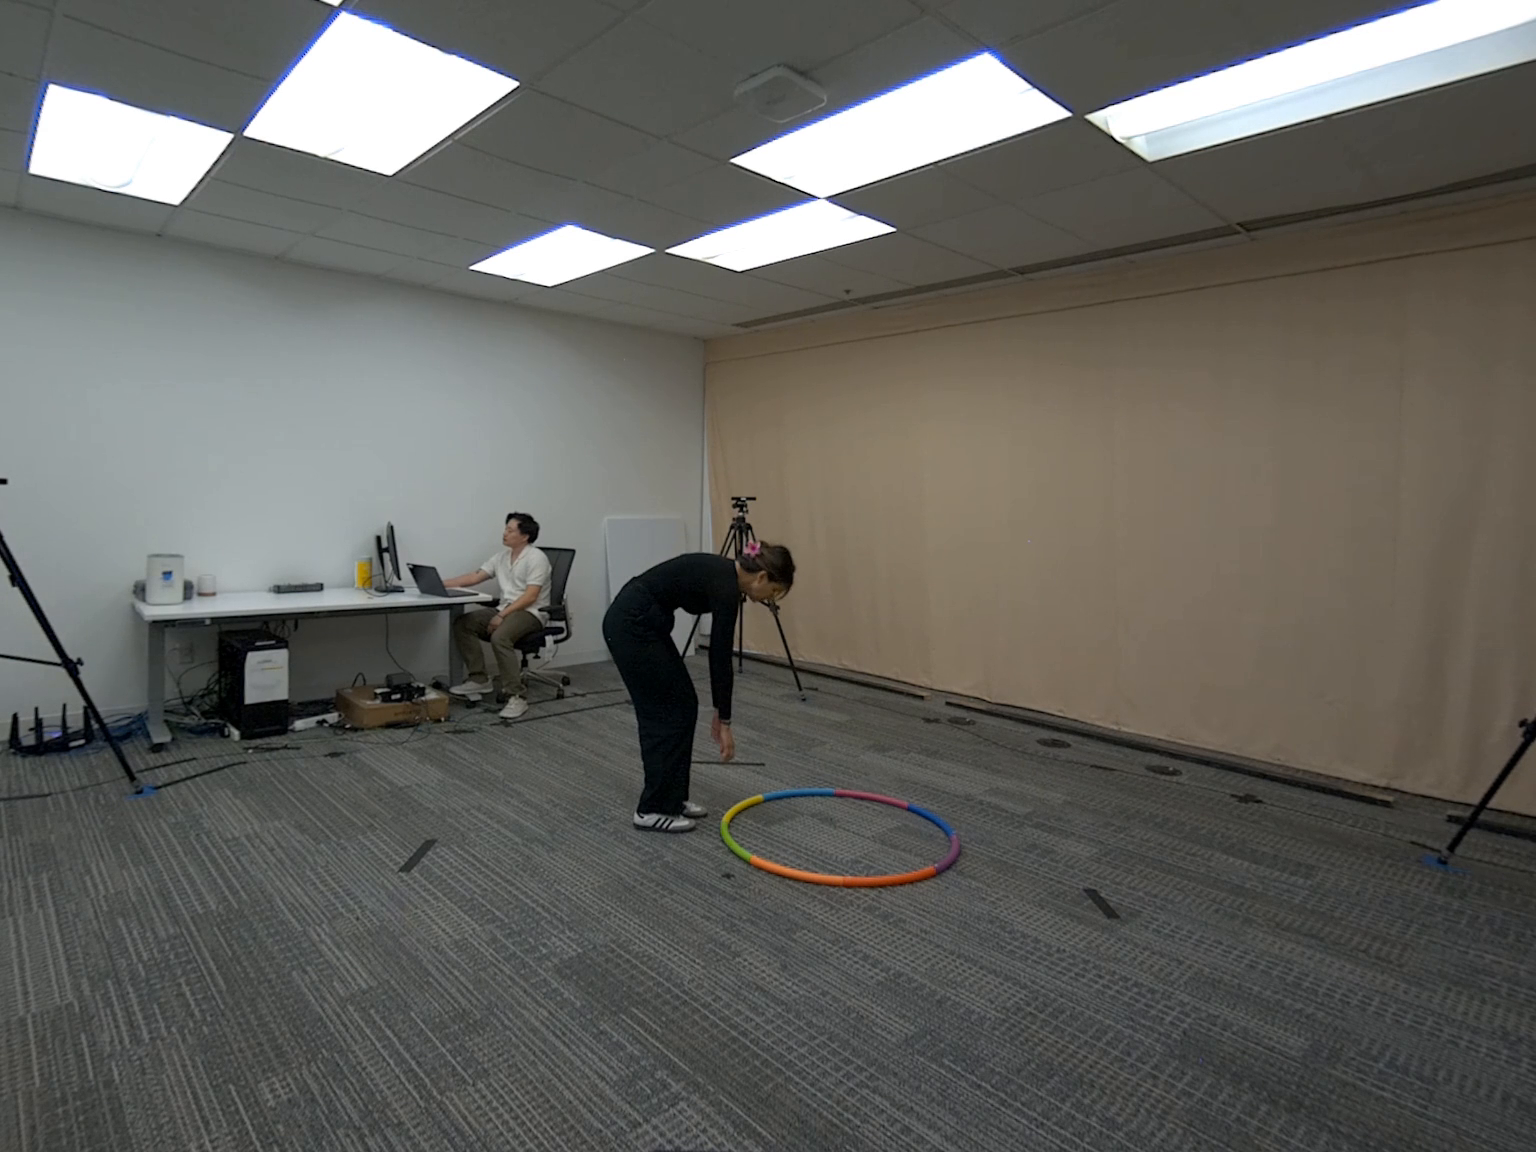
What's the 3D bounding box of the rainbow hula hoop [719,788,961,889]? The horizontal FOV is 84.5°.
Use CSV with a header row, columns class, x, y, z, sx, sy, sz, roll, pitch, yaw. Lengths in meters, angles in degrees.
class,x,y,z,sx,sy,sz,roll,pitch,yaw
rainbow hula hoop,0.280,1.052,3.512,0.978,0.035,0.982,2,5,-1
